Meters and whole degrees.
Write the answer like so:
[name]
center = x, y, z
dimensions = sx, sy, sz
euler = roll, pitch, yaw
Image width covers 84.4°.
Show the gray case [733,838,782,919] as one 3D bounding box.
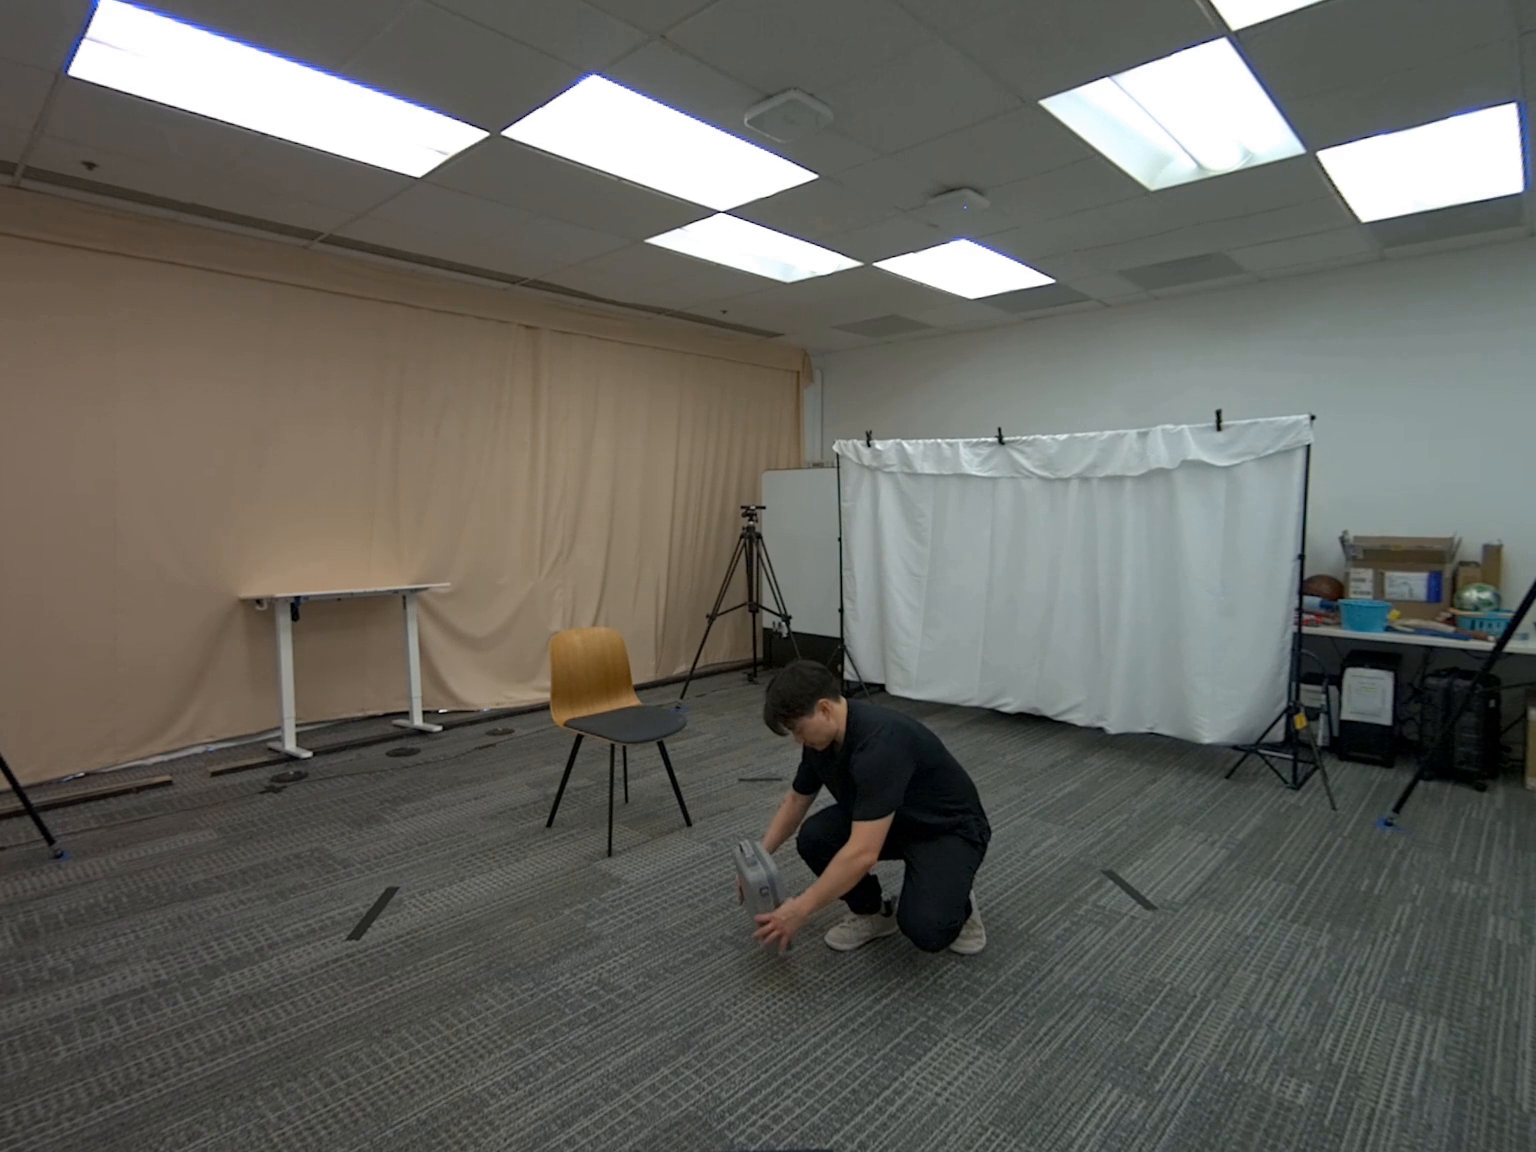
[gray case]
center = -0.008, 0.952, 2.527
dimensions = 0.103, 0.259, 0.260
euler = -17, 6, -12
